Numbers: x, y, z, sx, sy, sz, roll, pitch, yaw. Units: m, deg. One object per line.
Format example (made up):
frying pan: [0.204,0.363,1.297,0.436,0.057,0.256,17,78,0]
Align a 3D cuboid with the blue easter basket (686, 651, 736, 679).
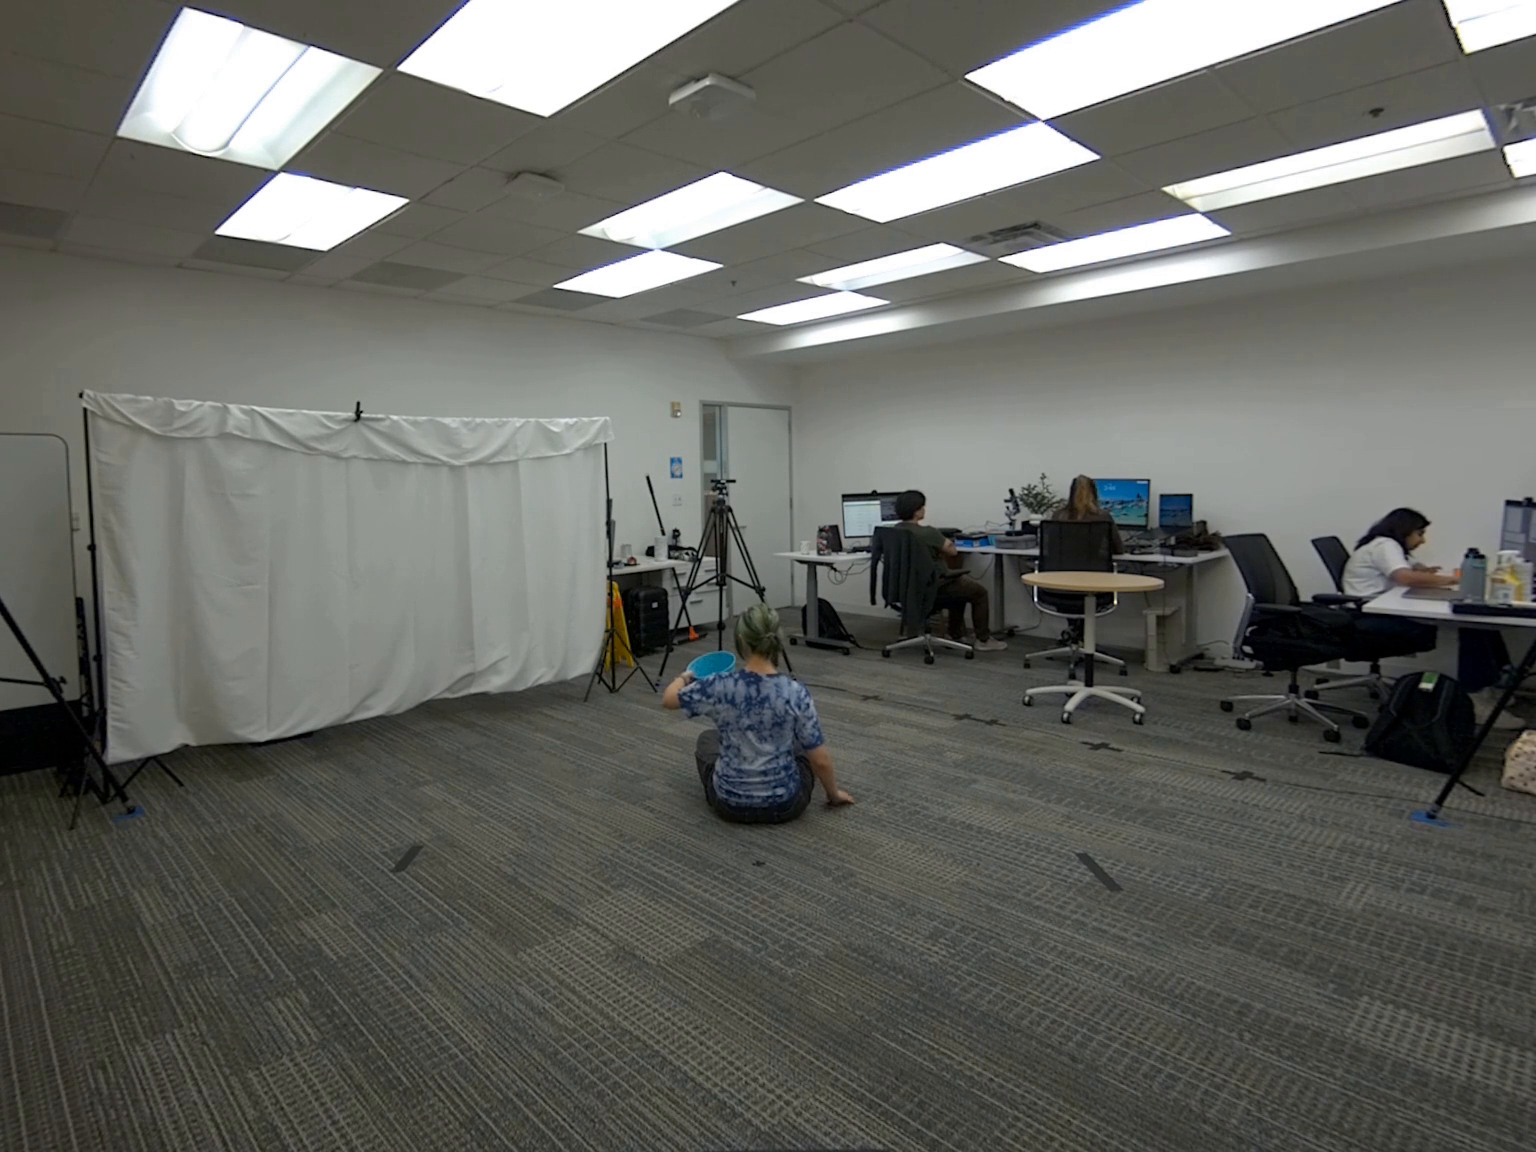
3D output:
blue easter basket: [-0.247,0.484,4.001,0.244,0.152,0.248,-15,22,4]
